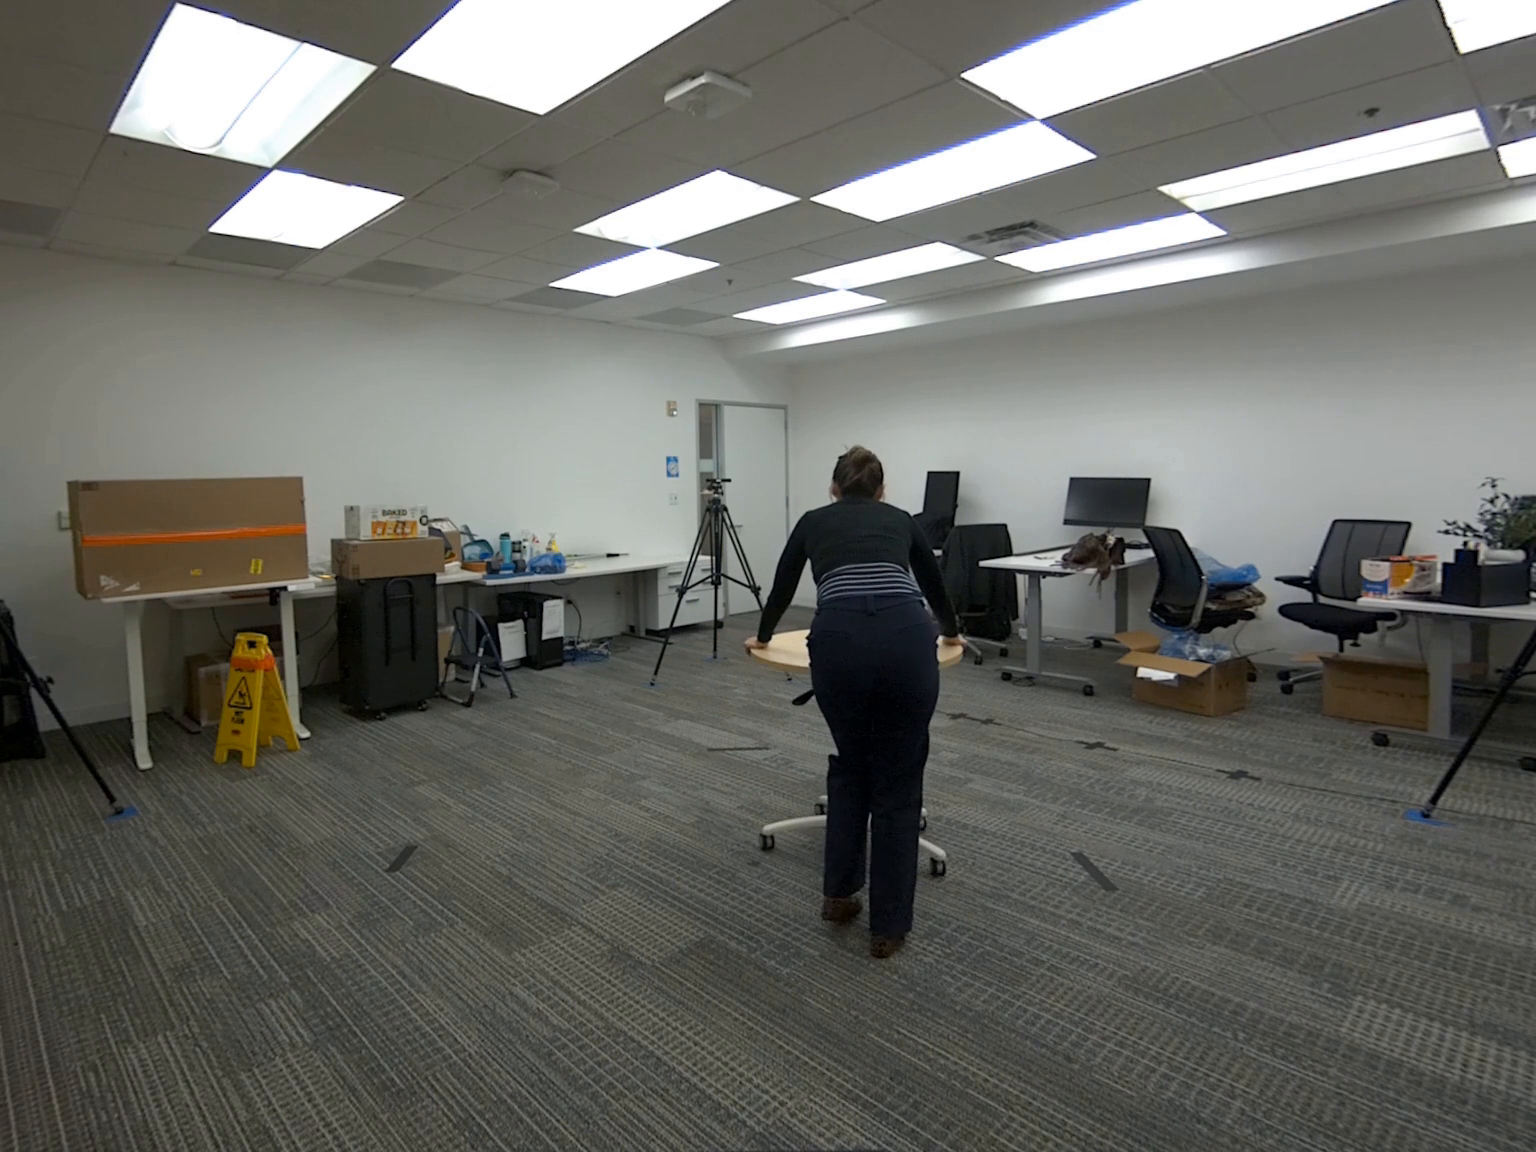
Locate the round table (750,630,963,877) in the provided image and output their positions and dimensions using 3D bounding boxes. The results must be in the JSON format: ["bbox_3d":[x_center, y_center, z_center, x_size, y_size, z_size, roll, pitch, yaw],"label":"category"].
[{"bbox_3d":[0.326,0.647,3.172,0.763,0.791,0.768,-1,5,-2],"label":"round table"}]
